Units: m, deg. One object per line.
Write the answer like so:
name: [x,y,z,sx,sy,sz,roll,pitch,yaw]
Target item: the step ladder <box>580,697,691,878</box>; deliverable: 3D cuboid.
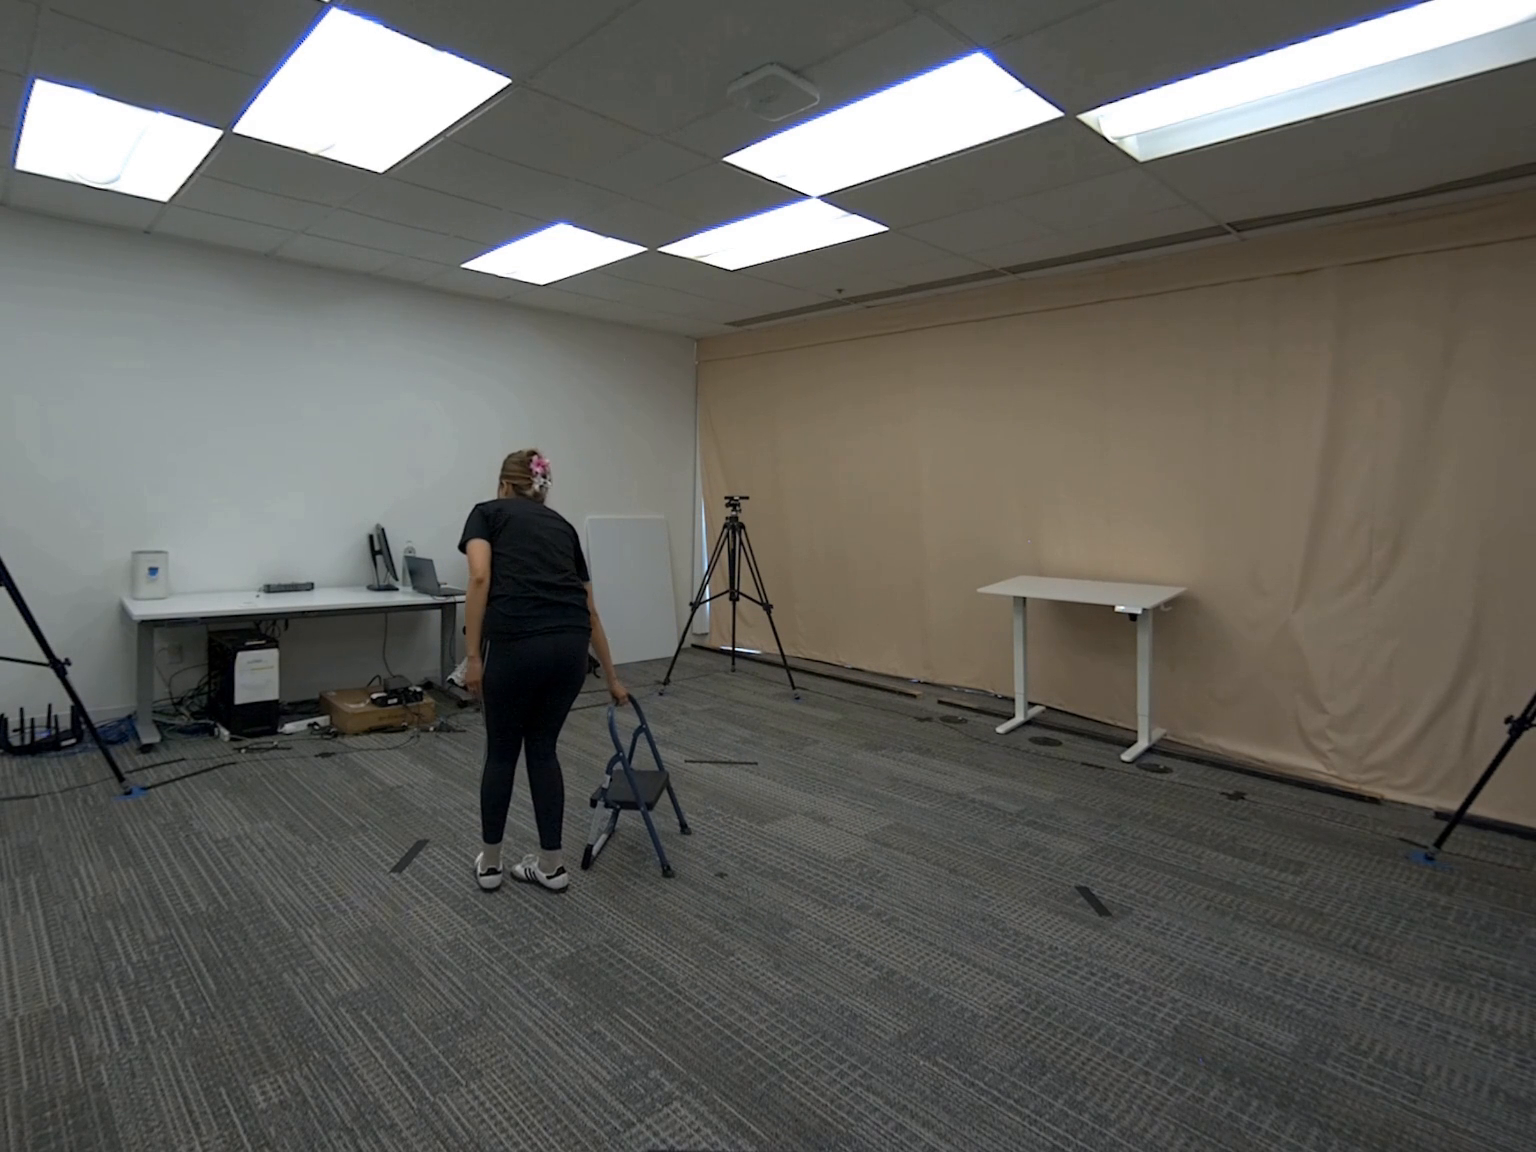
step ladder: [-0.516,0.774,3.284,0.350,0.604,0.430,1,4,4]
